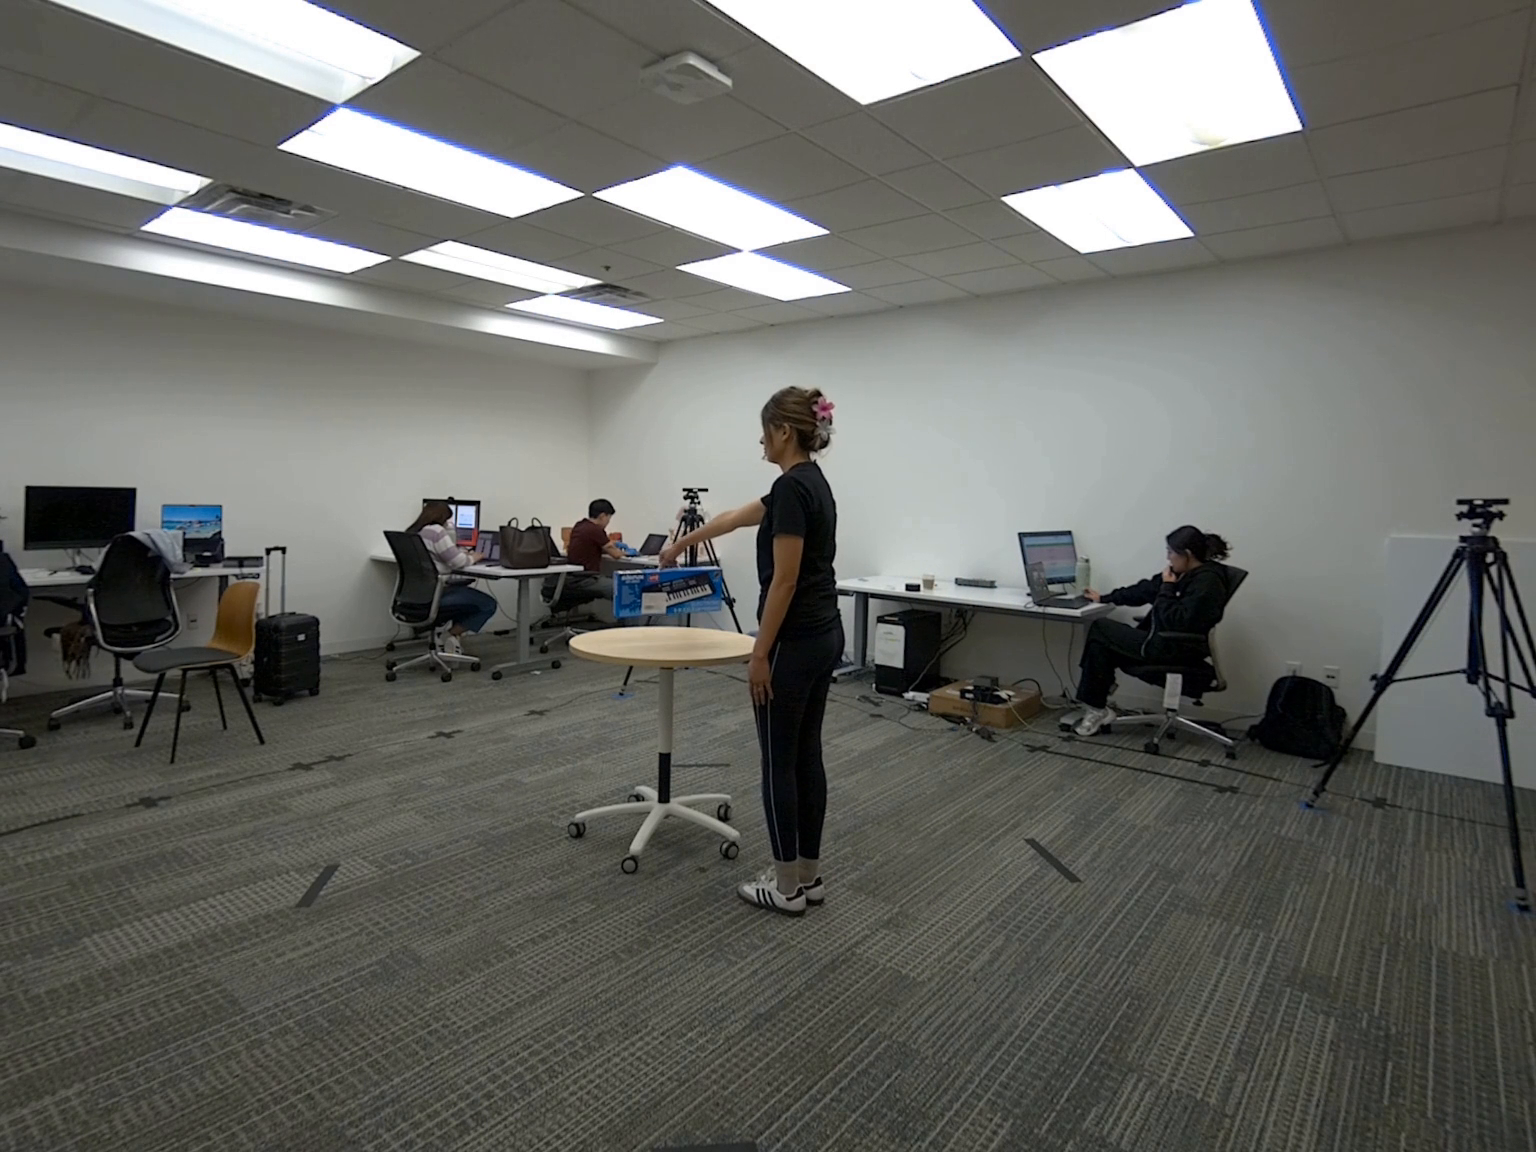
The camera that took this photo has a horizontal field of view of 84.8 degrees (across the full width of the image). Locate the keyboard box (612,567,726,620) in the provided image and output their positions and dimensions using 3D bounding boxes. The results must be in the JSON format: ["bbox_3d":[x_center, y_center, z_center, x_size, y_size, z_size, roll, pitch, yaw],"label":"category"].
[{"bbox_3d":[-0.403,0.061,3.320,0.426,0.175,0.061,-2,7,-25],"label":"keyboard box"}]
